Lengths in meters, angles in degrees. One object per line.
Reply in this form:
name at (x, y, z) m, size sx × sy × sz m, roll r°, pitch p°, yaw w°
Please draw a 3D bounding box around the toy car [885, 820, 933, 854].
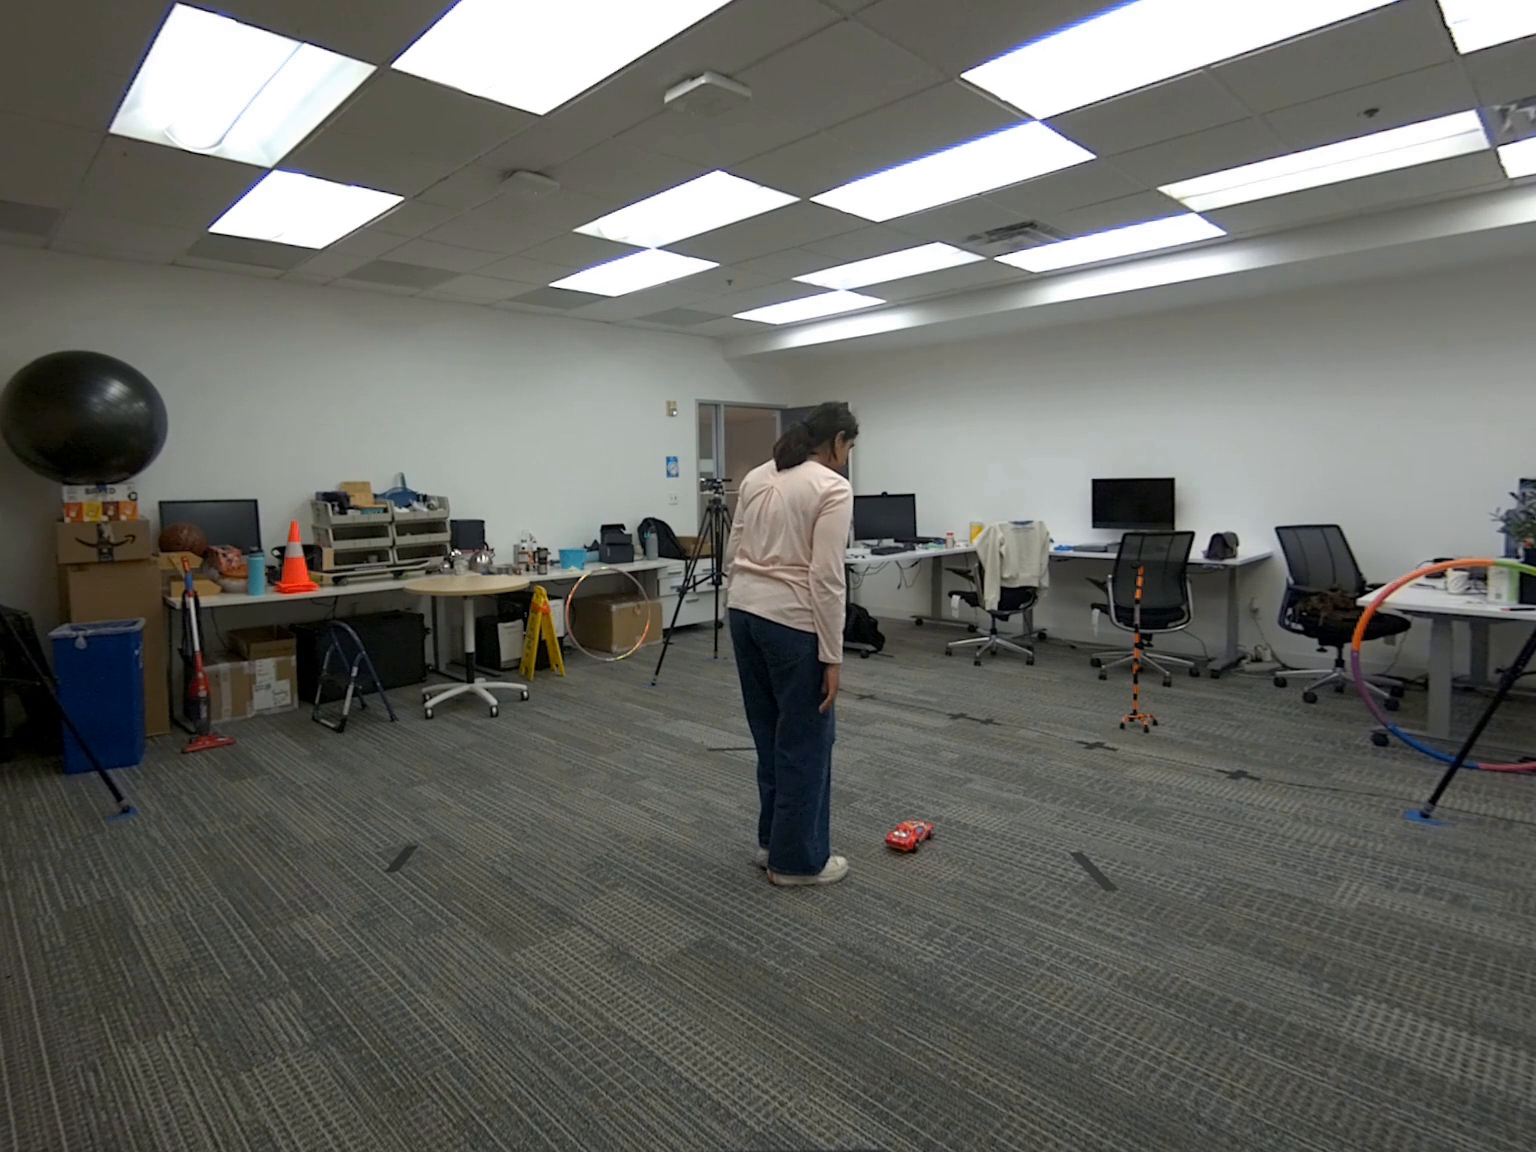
toy car at (0.539, 0.989, 3.244) m, size 0.134 × 0.083 × 0.246 m, roll 3°, pitch -4°, yaw 36°
